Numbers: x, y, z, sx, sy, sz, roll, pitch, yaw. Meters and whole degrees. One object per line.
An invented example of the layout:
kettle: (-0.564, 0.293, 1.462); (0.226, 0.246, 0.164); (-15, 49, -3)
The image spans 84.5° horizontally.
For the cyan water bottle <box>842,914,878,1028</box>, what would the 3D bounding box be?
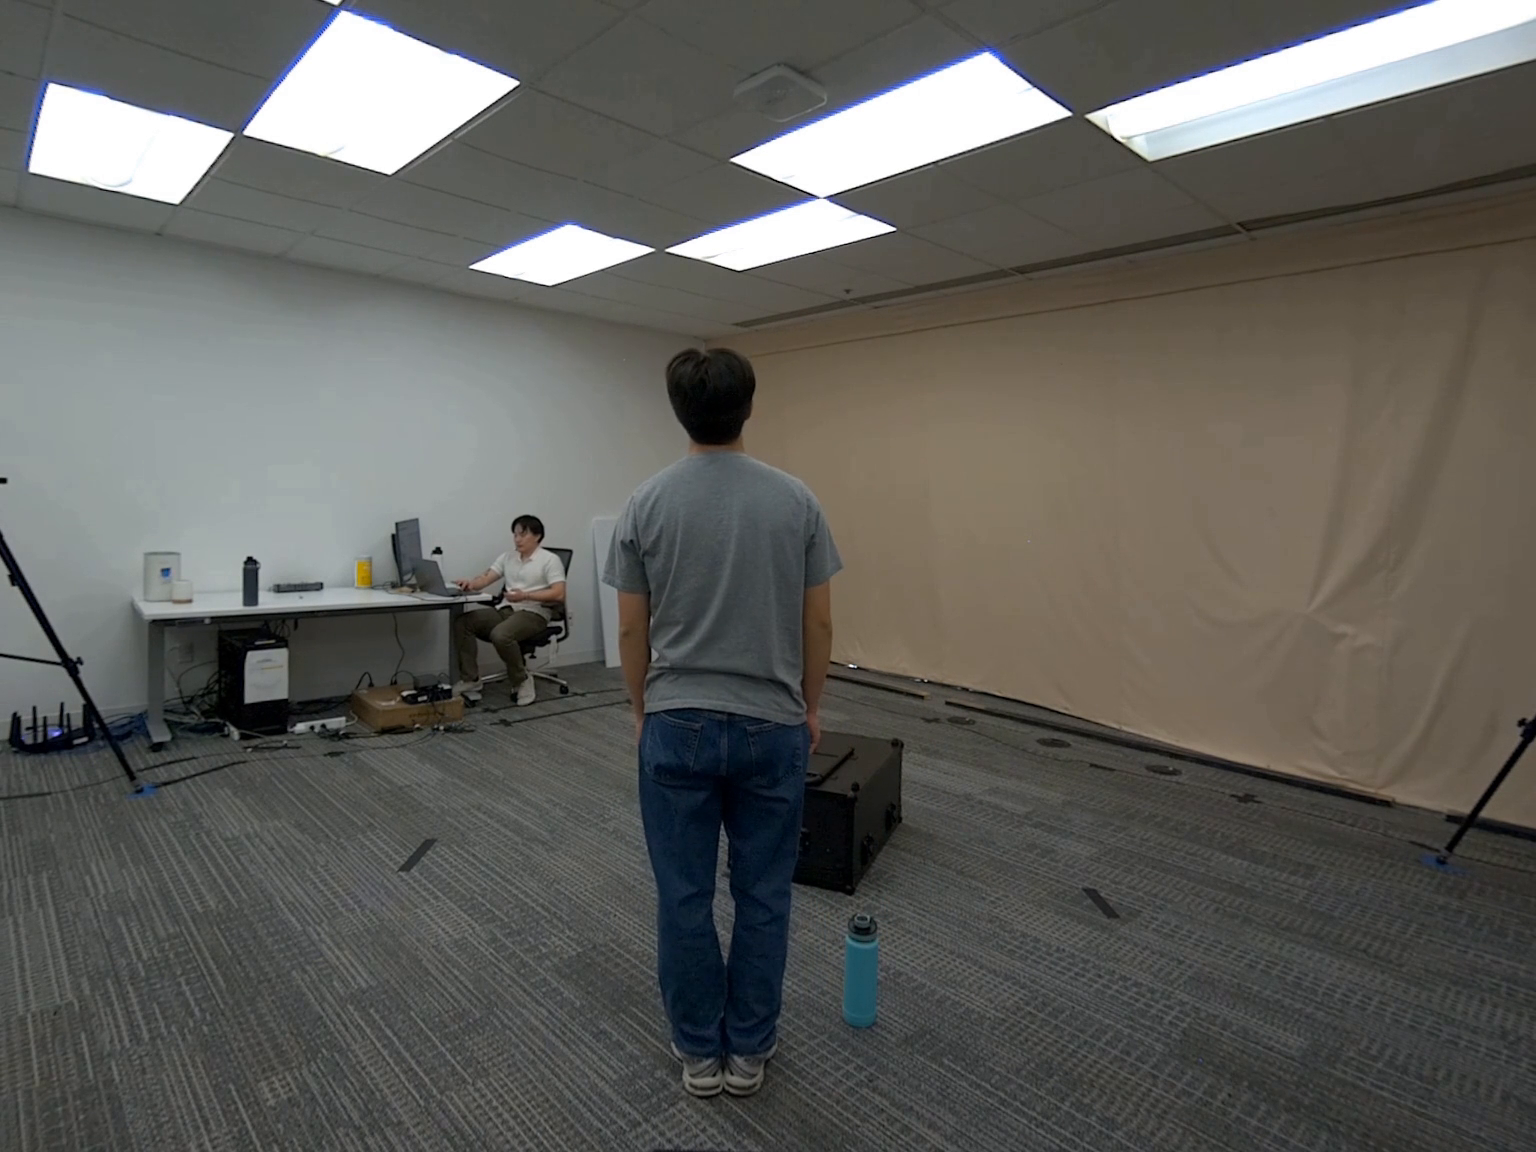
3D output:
cyan water bottle: (0.249, 1.054, 2.263); (0.092, 0.283, 0.092); (3, 3, -2)
